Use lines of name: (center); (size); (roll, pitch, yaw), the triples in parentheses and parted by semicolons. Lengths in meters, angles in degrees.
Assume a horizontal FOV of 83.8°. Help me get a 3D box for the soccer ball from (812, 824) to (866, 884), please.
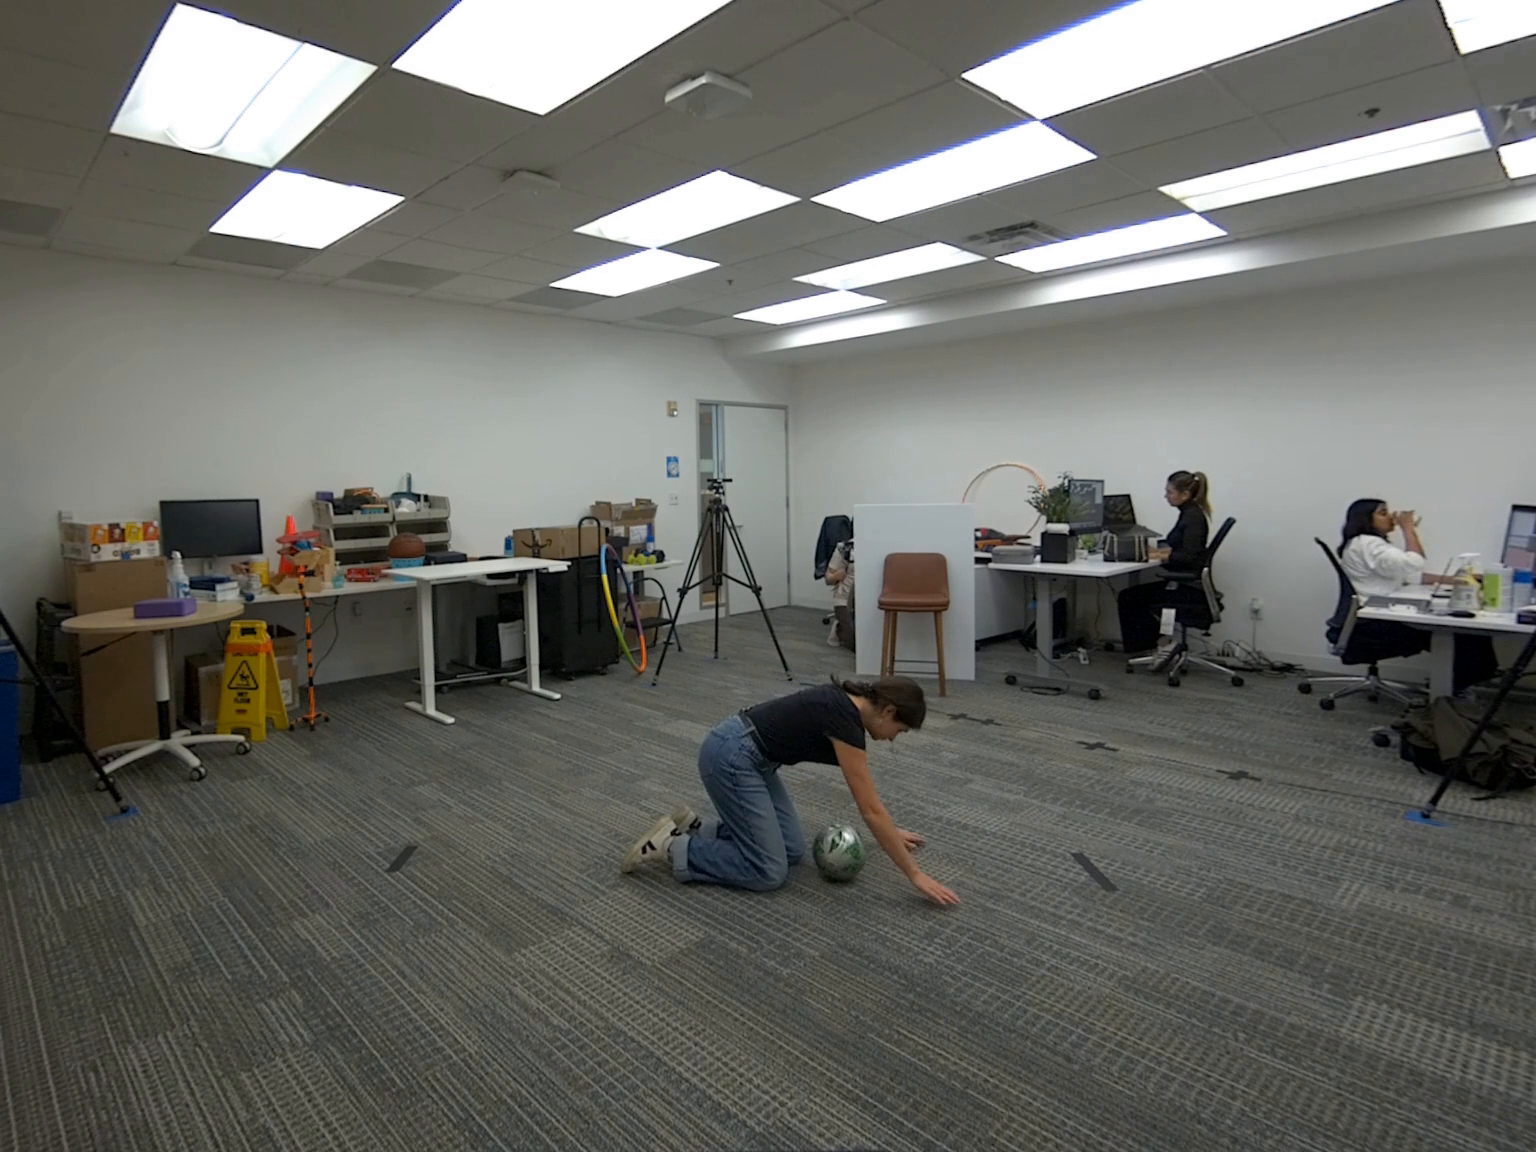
soccer ball: (0.249, 0.959, 2.976); (0.187, 0.187, 0.188); (-1, 5, -2)
